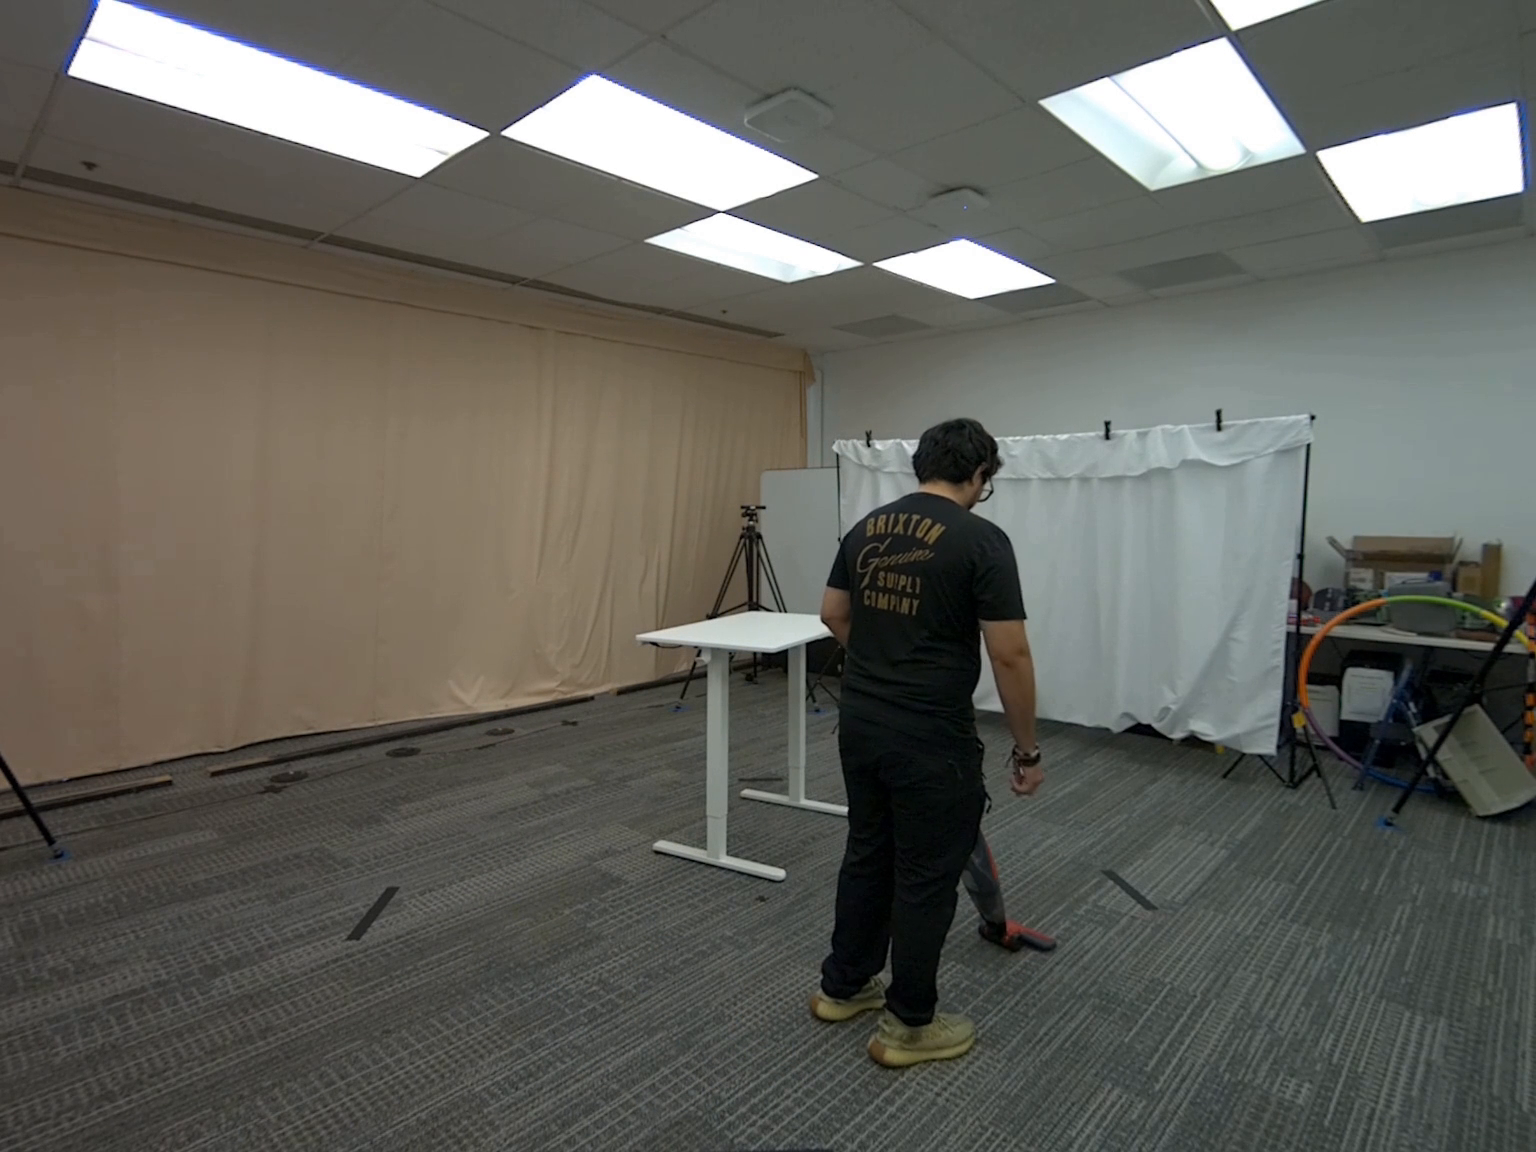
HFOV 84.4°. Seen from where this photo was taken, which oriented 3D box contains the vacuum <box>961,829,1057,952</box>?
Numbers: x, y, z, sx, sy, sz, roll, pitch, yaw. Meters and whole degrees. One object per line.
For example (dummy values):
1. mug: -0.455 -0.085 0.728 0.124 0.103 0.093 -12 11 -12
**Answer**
1. vacuum: 0.592 0.729 2.527 0.260 1.029 0.142 -2 30 44
